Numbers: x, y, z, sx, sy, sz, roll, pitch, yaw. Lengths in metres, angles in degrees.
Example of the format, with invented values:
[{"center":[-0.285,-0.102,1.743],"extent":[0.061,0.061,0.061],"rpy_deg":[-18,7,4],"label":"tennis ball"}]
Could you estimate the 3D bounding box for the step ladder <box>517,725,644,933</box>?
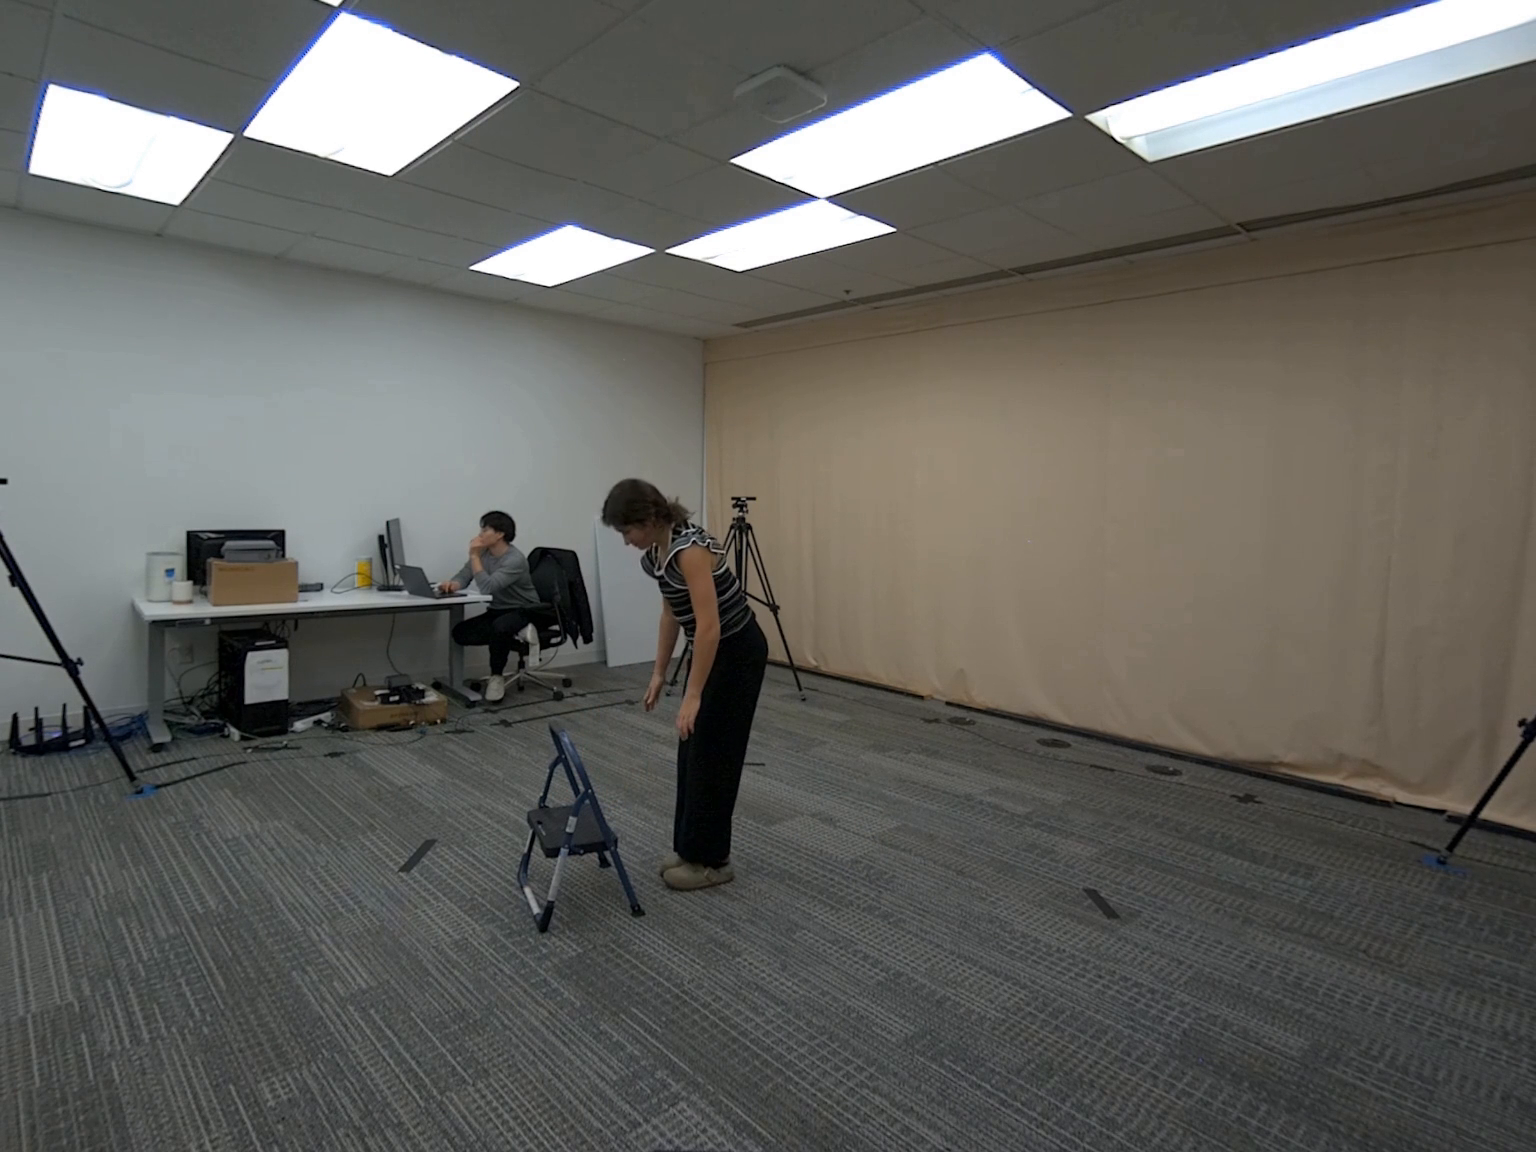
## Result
[{"center":[-0.657,0.812,2.899],"extent":[0.343,0.604,0.440],"rpy_deg":[0,4,-26],"label":"step ladder"}]
